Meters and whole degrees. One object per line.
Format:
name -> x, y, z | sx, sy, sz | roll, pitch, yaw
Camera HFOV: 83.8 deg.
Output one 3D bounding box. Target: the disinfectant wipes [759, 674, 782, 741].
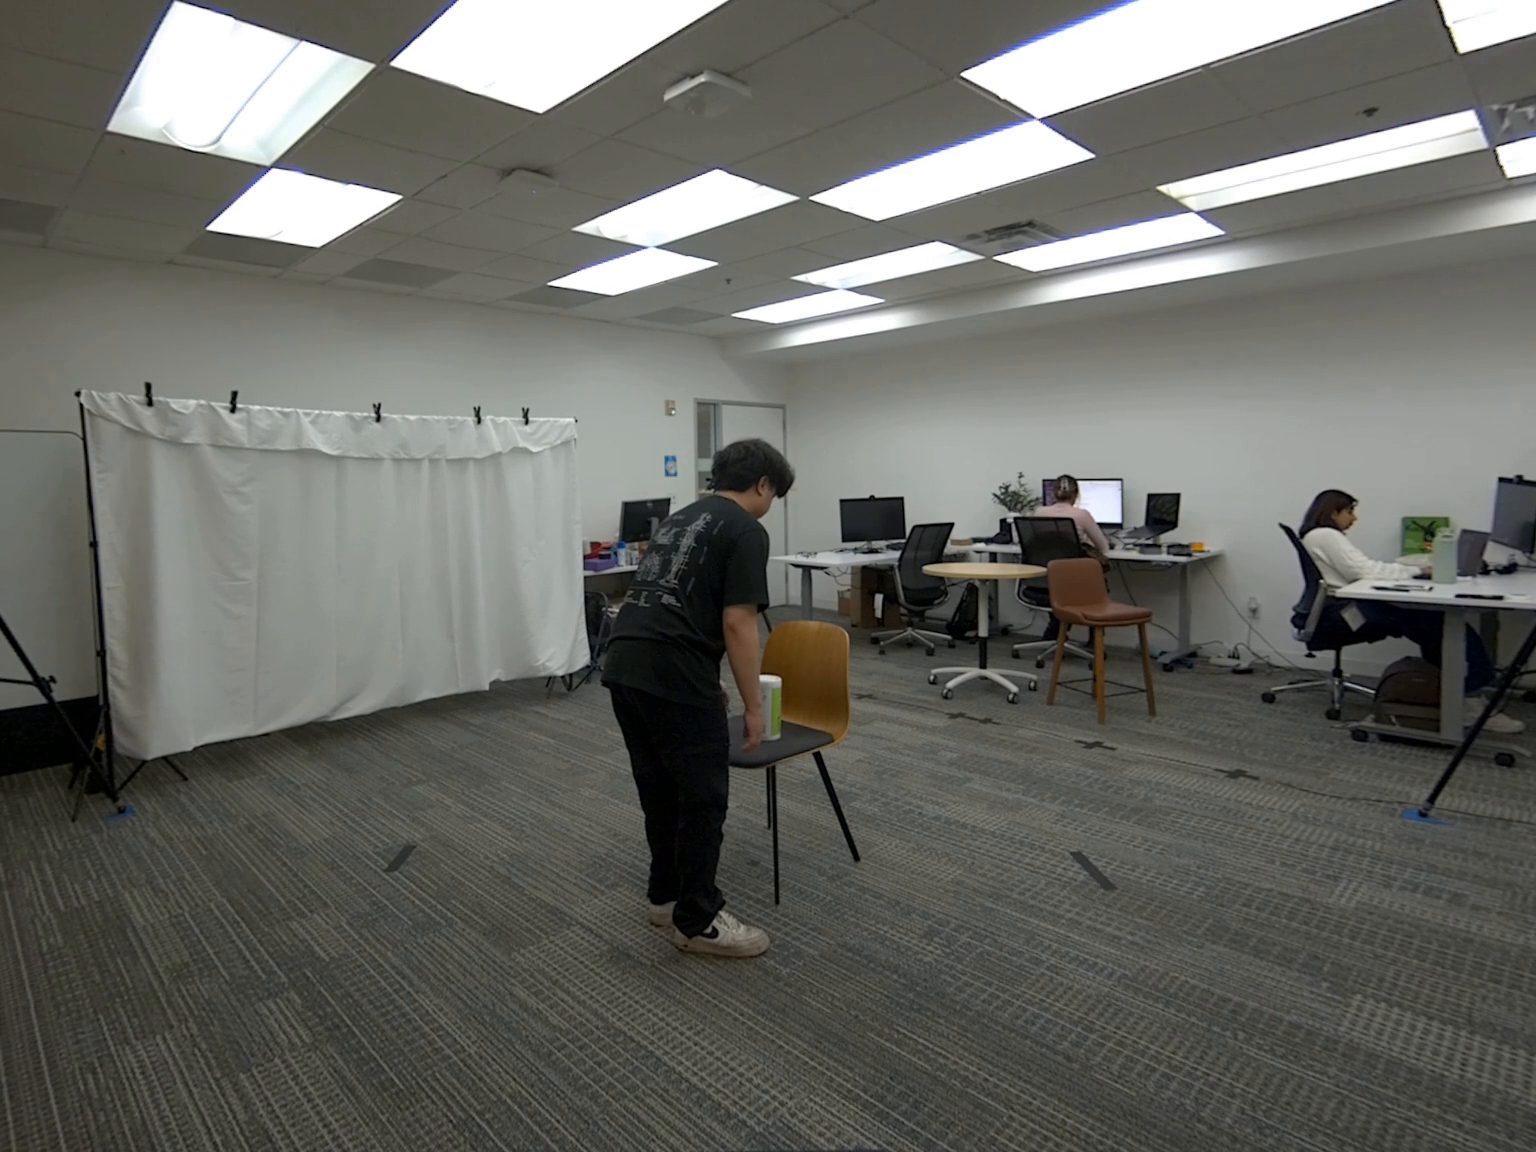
disinfectant wipes -> -0.003, 0.470, 3.040 | 0.118, 0.217, 0.118 | 2, 2, -2
